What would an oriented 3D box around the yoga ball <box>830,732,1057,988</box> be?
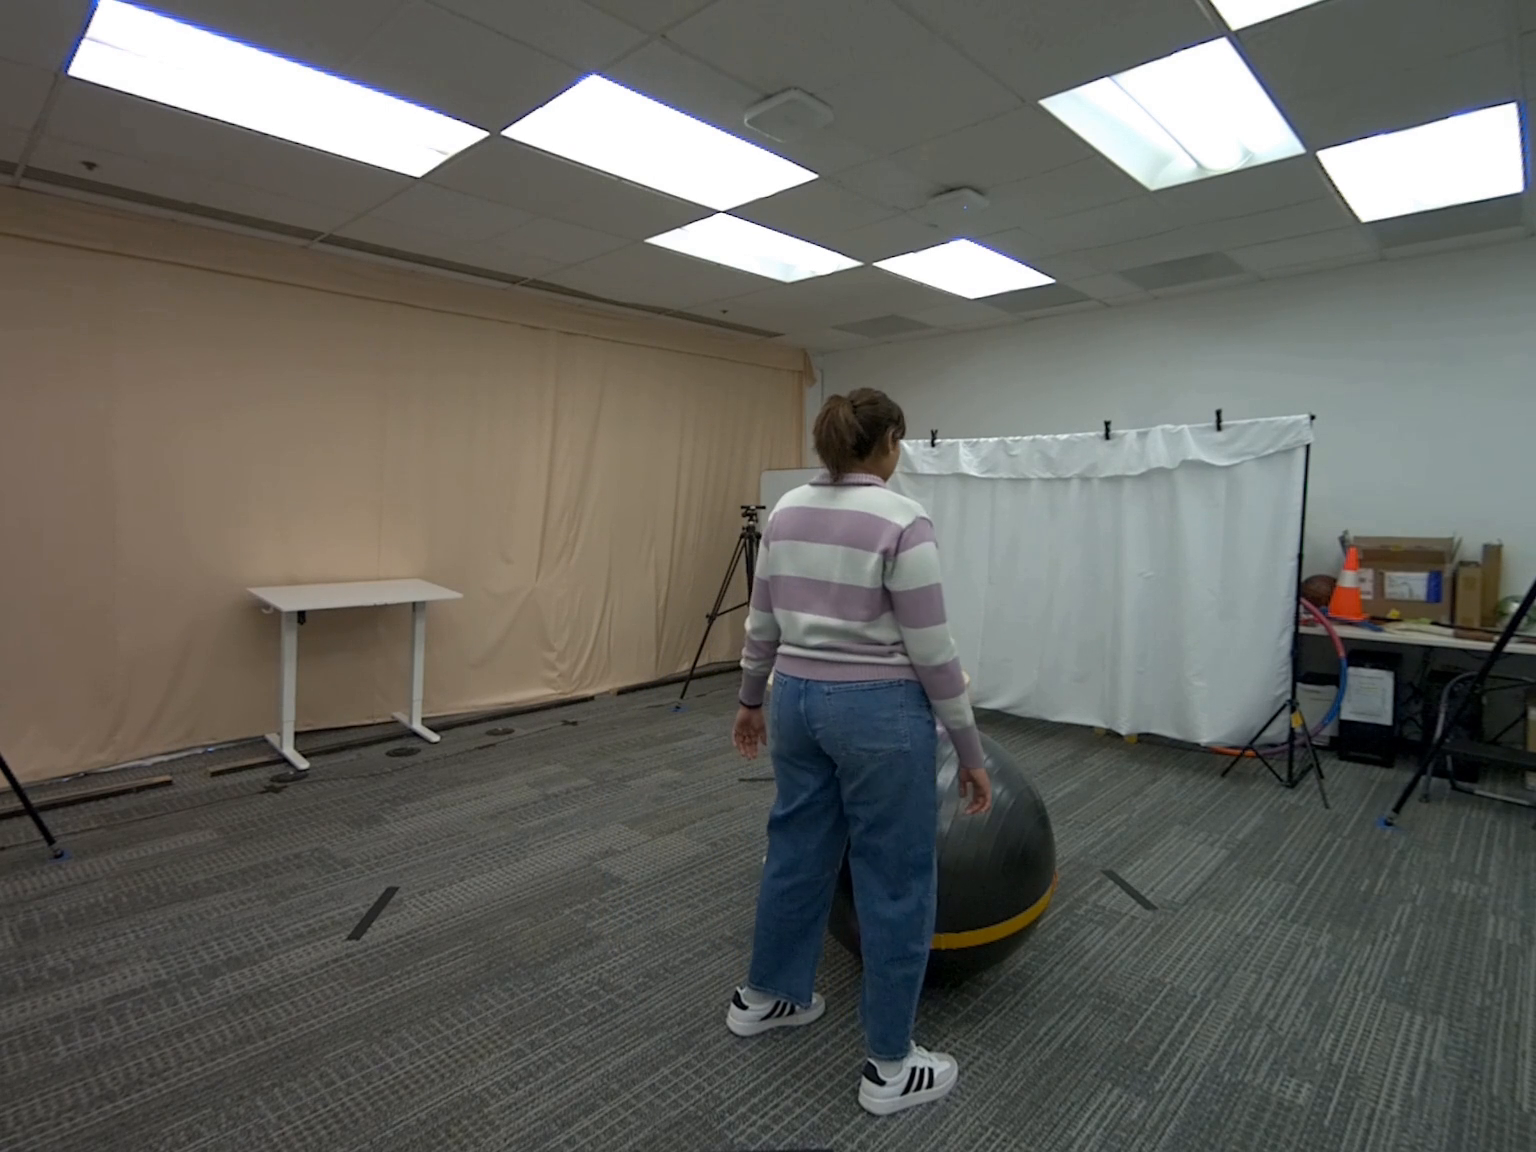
[{"bbox_3d":[0.474,0.806,2.548,0.757,0.756,0.760,0,4,-2],"label":"yoga ball"}]
